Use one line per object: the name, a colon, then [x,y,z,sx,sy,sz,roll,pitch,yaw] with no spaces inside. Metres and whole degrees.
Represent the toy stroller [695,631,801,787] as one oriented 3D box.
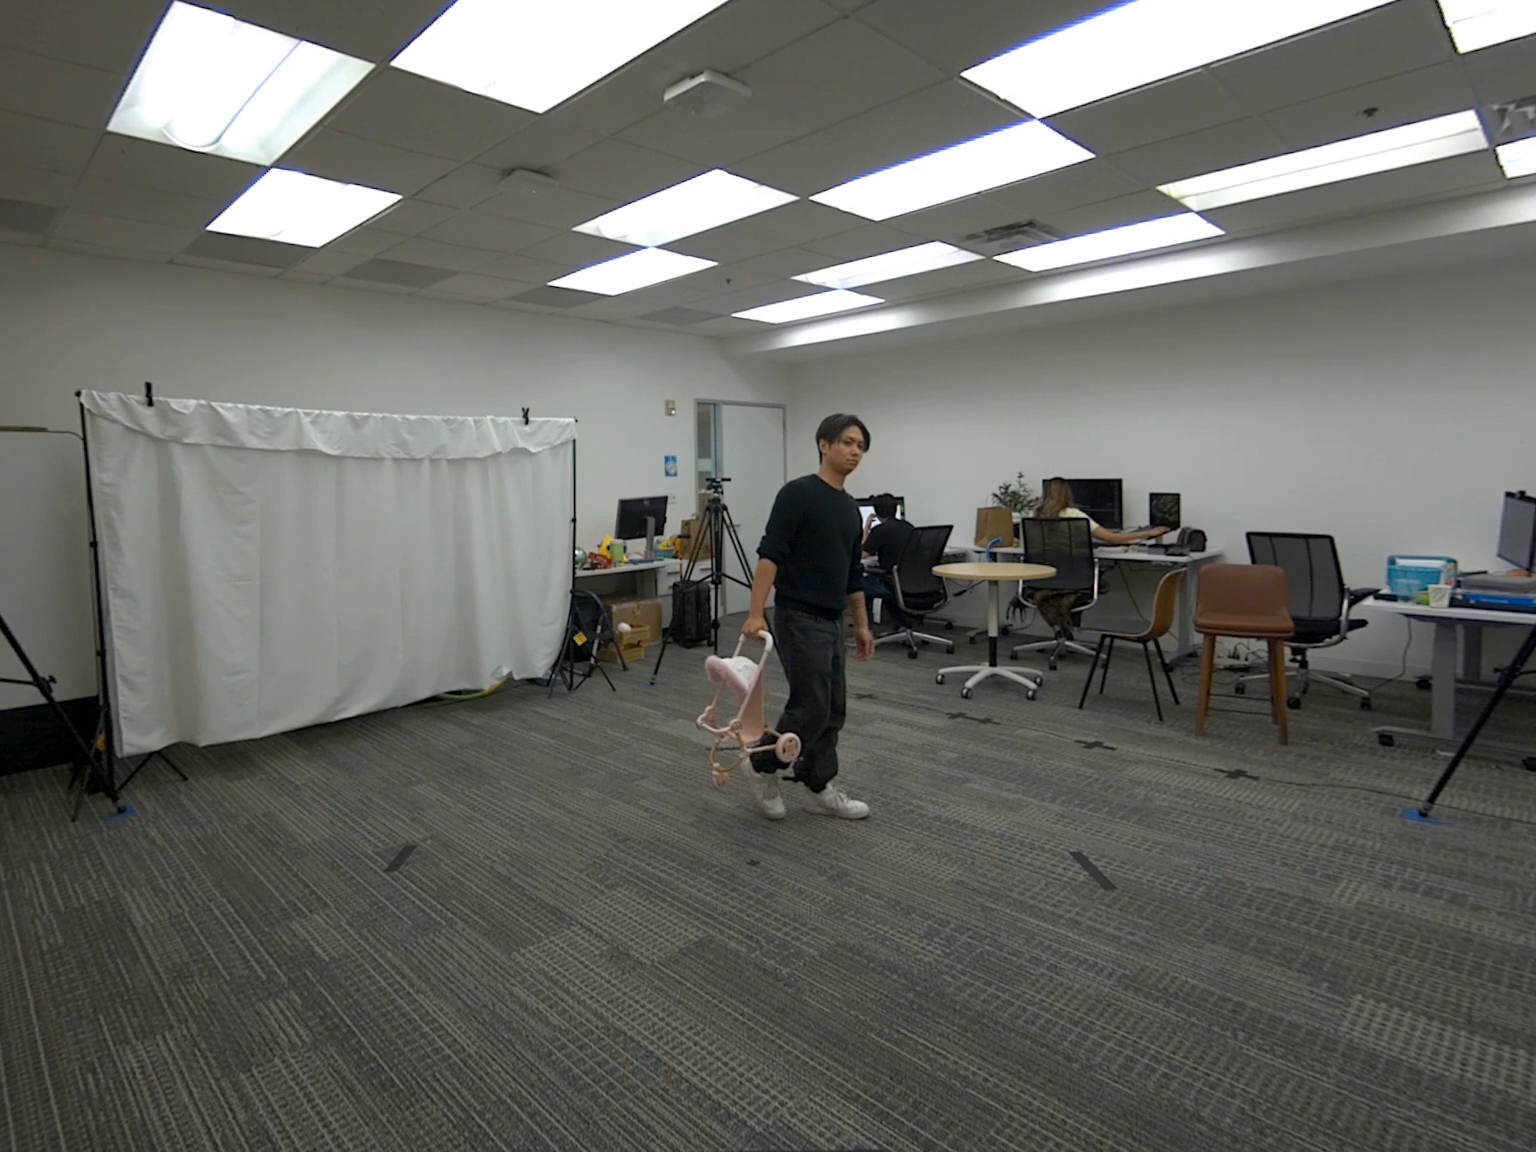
toy stroller: [-0.112,0.511,3.227,0.336,0.528,0.289,-17,14,-24]
